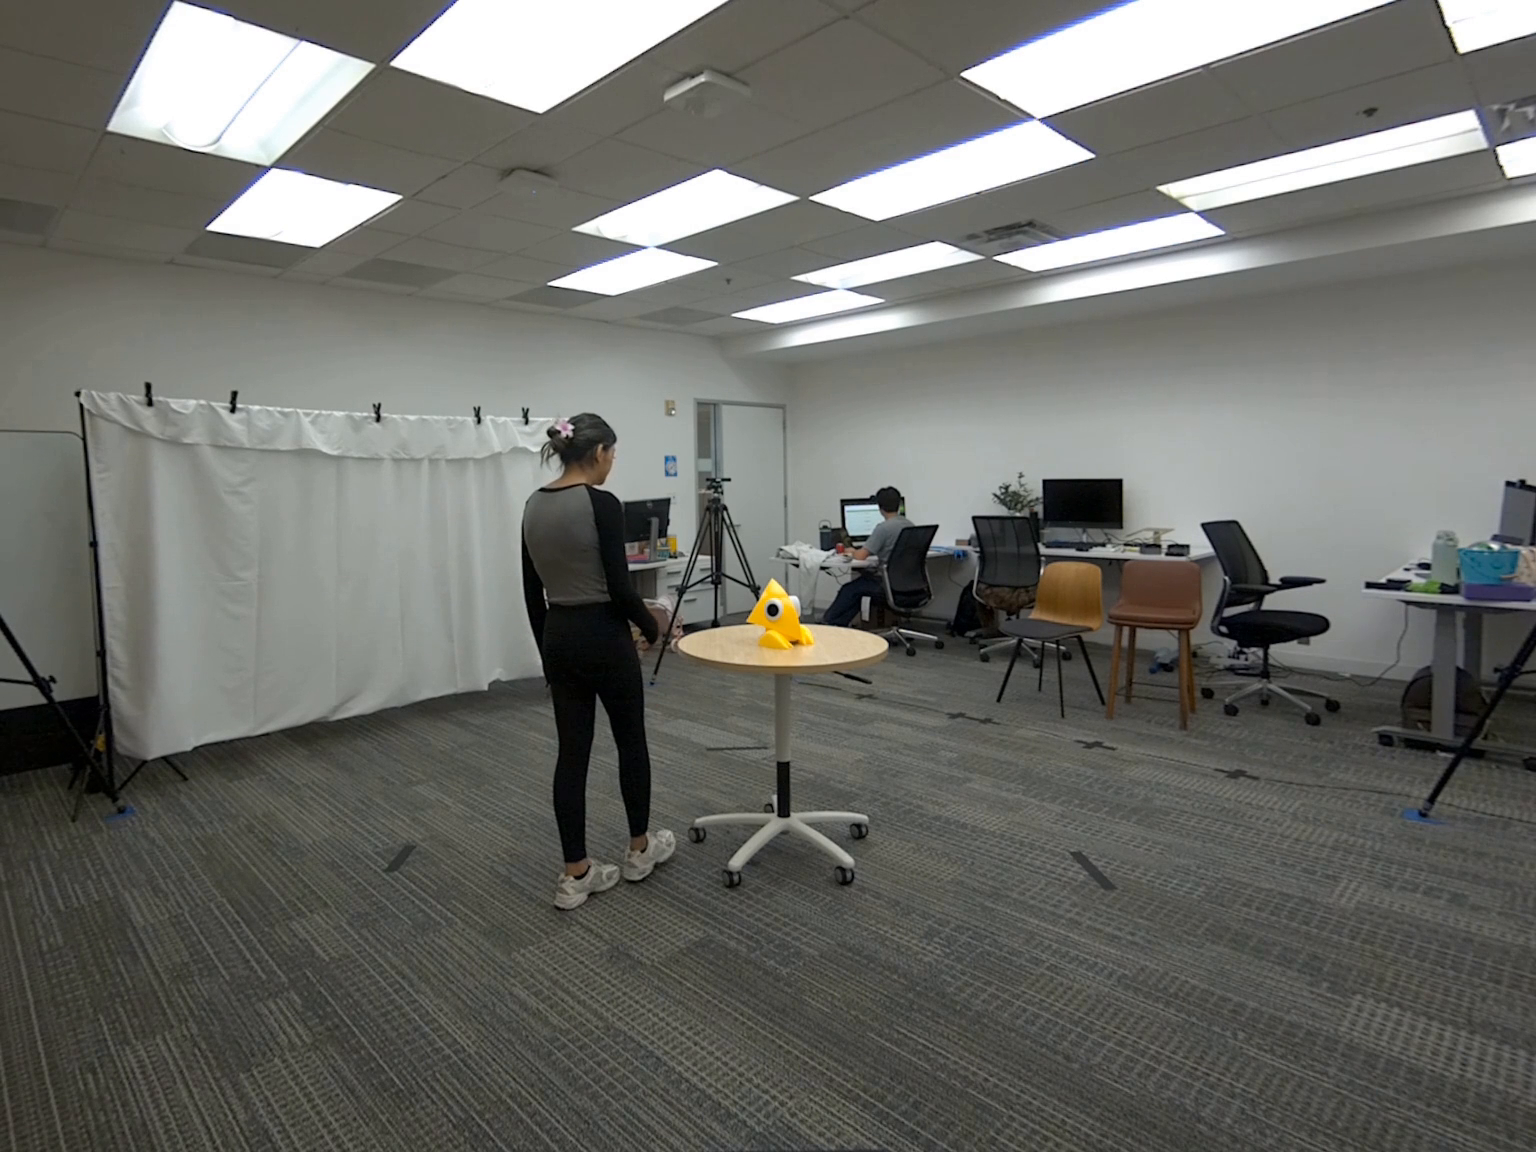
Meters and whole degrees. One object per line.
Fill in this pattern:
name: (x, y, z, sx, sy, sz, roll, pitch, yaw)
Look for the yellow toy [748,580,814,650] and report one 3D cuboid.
yellow toy: (0.062, 0.131, 3.117, 0.199, 0.230, 0.199, -5, 7, -40)
